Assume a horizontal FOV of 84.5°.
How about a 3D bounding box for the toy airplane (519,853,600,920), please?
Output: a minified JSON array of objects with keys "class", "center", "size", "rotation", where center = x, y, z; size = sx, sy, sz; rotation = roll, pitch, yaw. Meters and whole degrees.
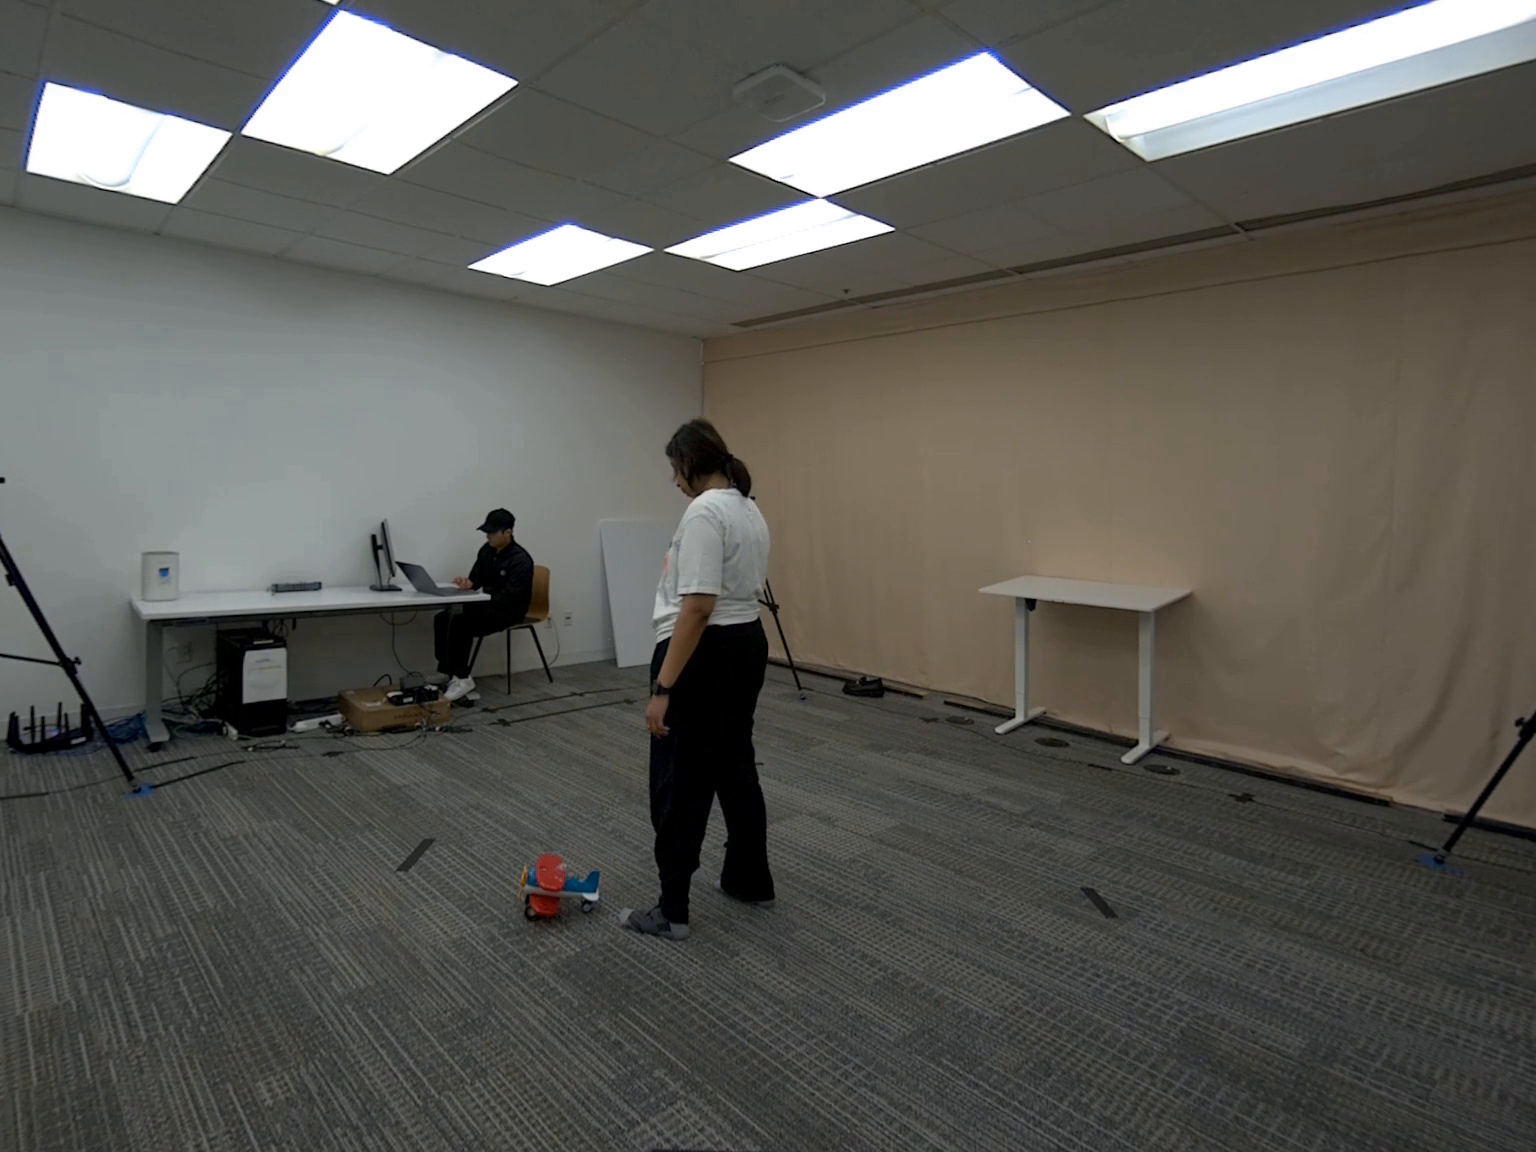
[{"class":"toy airplane","center":[-0.705,1.038,2.820],"size":[0.253,0.156,0.257],"rotation":[-3,5,-40]}]
